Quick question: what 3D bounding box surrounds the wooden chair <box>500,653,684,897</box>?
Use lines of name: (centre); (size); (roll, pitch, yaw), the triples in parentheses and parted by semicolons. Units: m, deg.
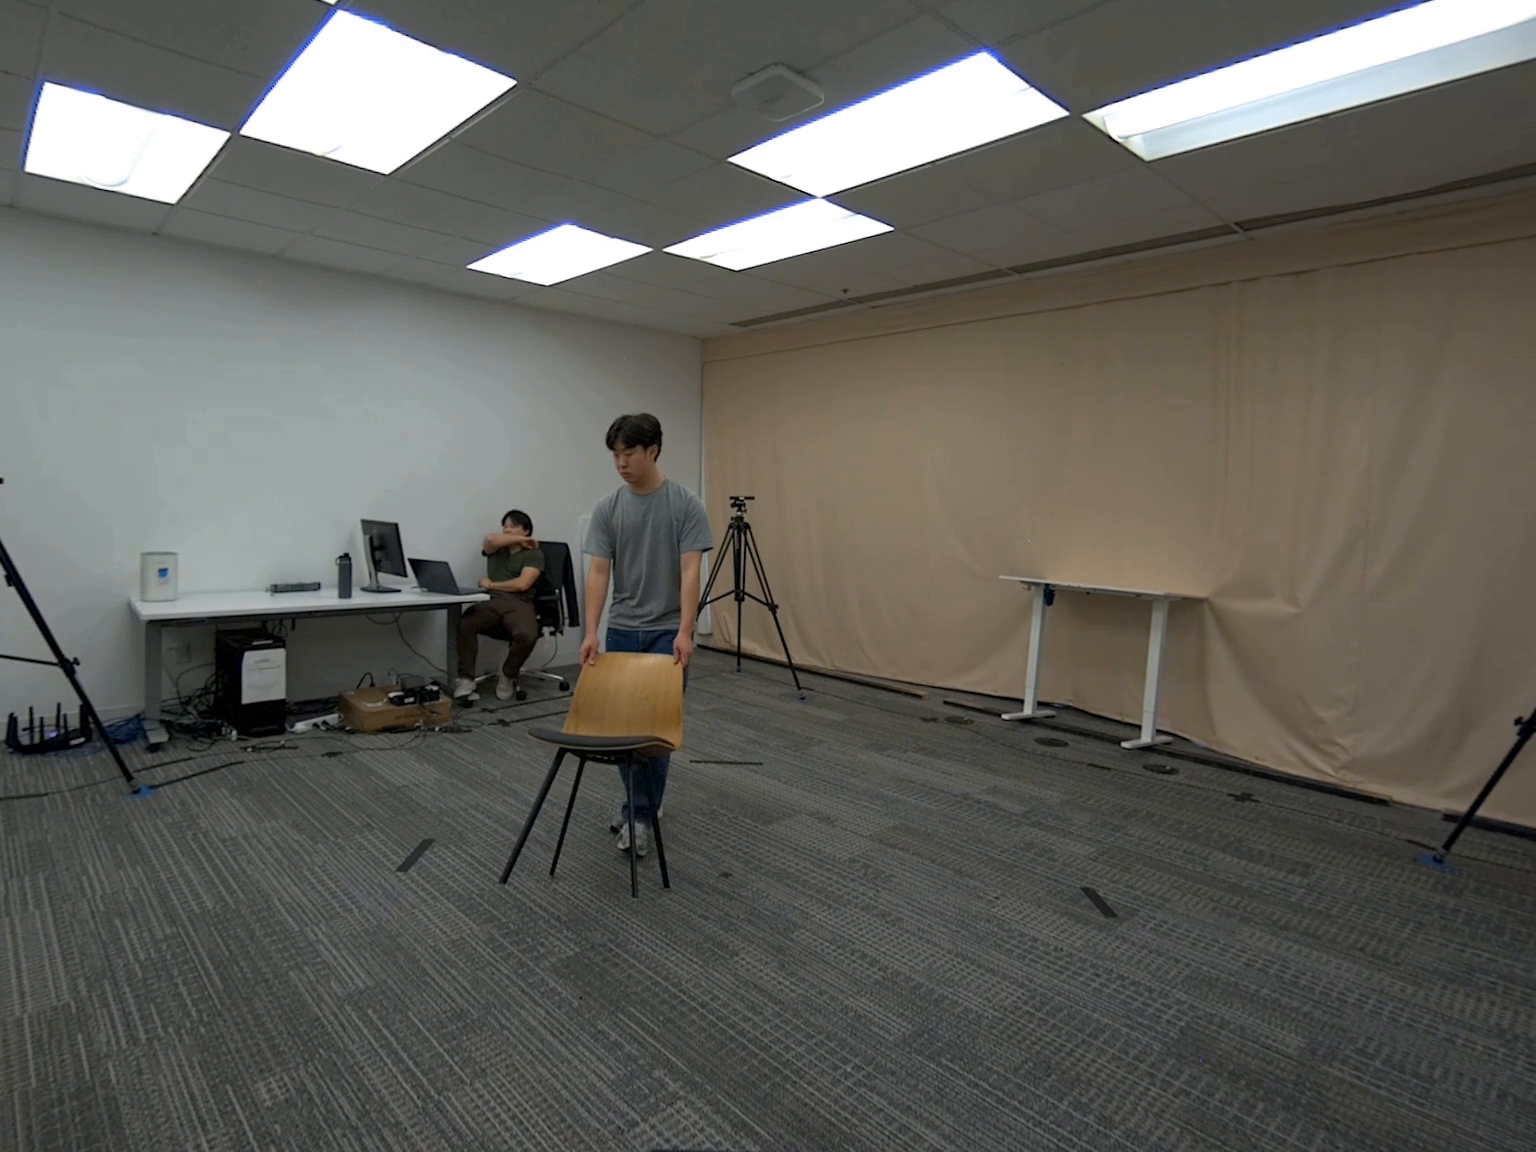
wooden chair: (-0.583, 0.632, 2.925); (0.482, 0.889, 0.512); (2, -22, 9)
